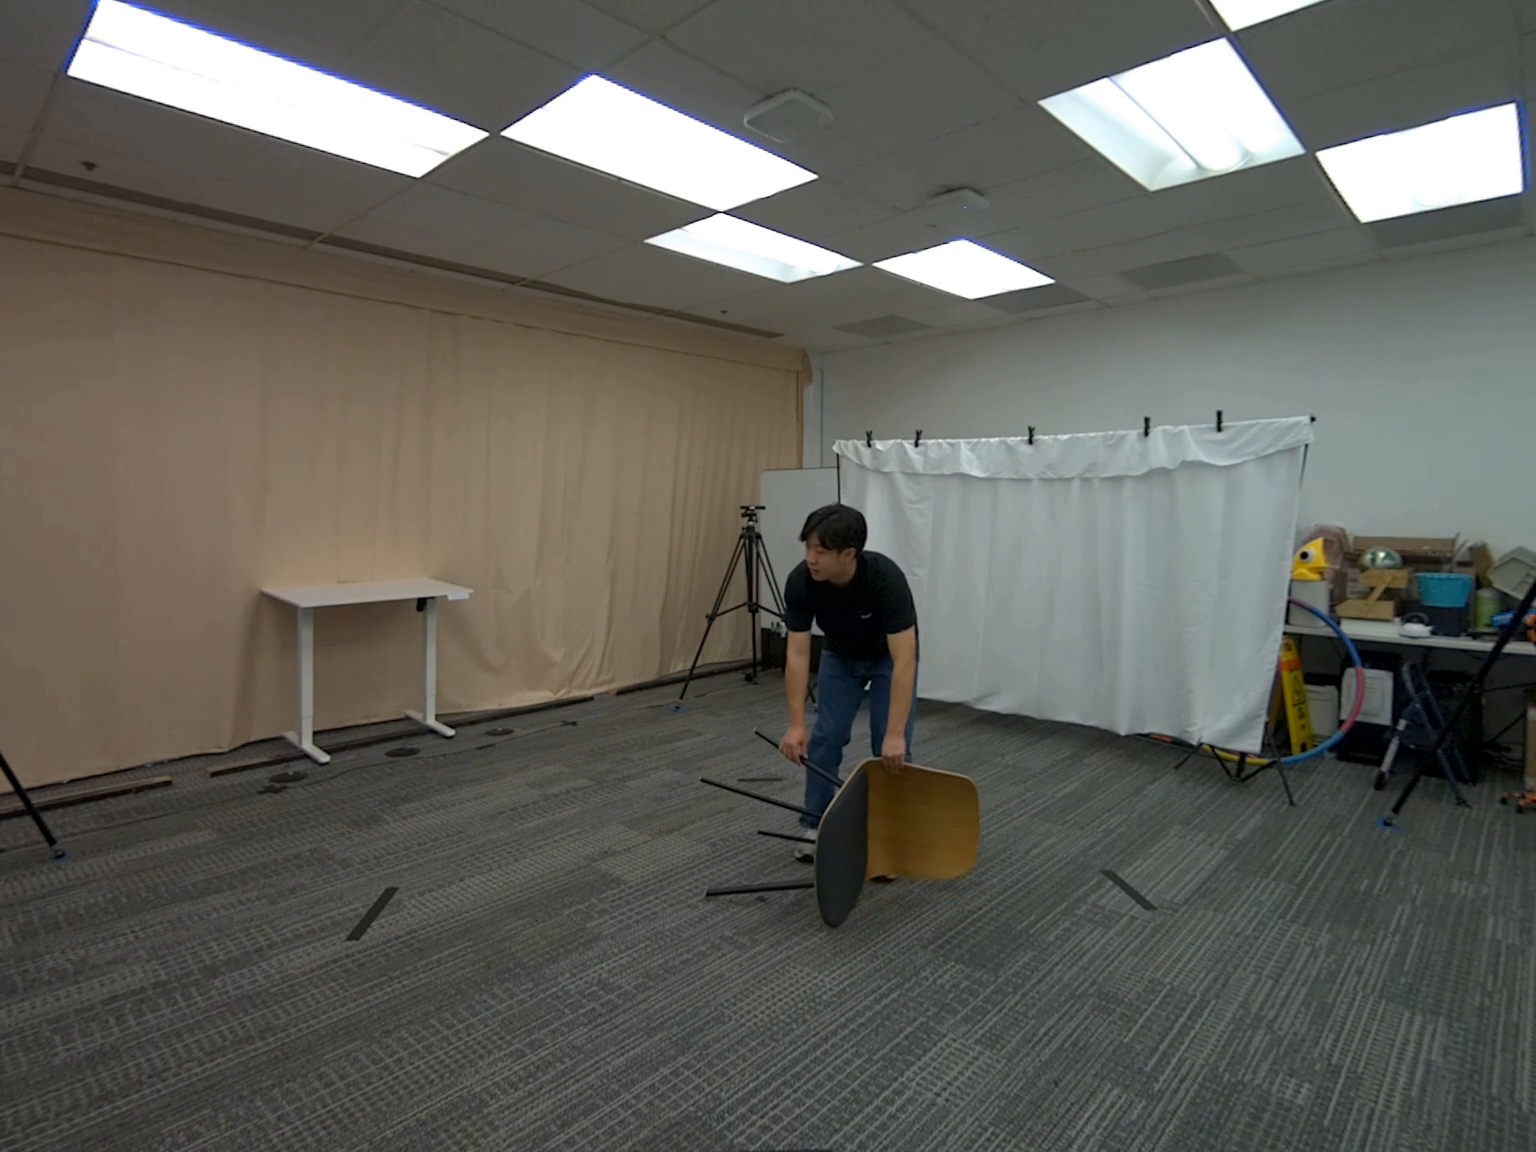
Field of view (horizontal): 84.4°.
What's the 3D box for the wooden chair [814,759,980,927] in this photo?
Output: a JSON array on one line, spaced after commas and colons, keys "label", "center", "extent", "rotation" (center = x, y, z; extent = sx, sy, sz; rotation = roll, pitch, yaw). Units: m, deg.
[{"label": "wooden chair", "center": [0.261, 0.901, 2.921], "extent": [0.898, 0.474, 0.515], "rotation": [5, 14, 22]}]
